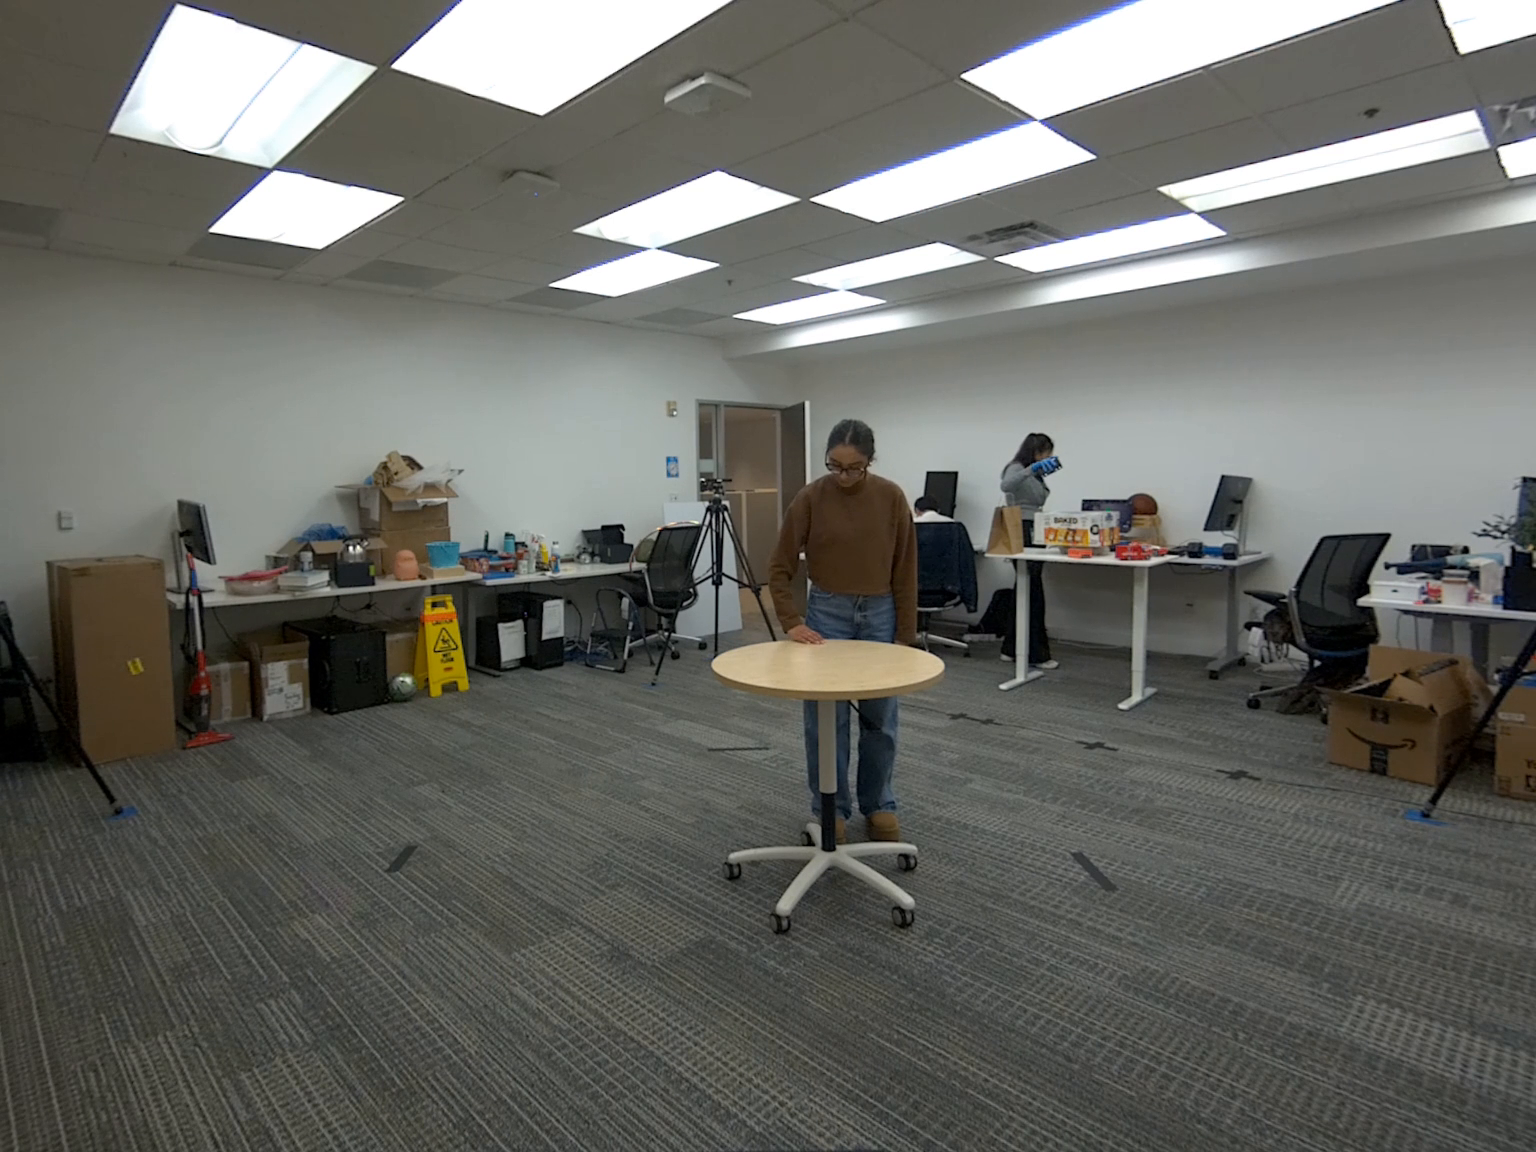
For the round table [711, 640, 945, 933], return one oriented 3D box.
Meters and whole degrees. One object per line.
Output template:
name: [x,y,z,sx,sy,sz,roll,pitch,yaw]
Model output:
round table: [0.204,0.679,2.874,0.763,0.790,0.768,-1,5,-2]
